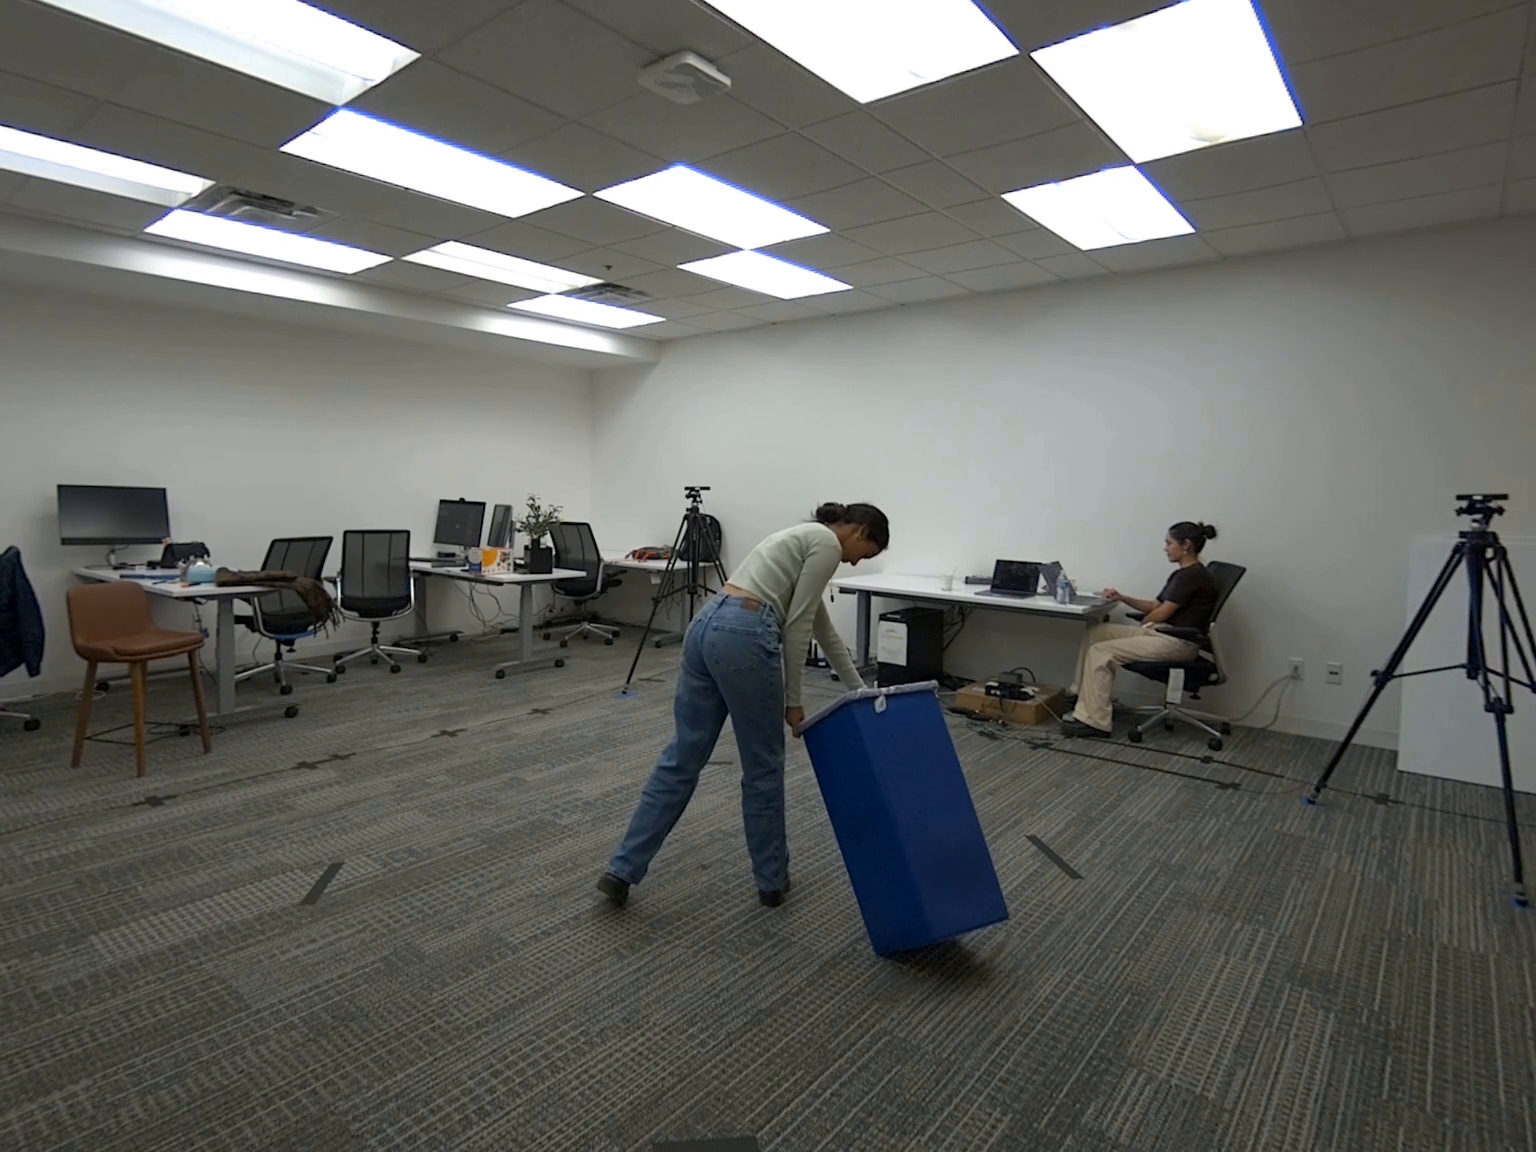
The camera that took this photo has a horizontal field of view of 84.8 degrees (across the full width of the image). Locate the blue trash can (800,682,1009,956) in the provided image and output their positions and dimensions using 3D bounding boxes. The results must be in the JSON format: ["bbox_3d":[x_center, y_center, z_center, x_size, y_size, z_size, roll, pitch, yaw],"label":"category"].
[{"bbox_3d":[0.406,0.742,2.661,0.367,0.733,0.374,0,-28,-31],"label":"blue trash can"}]
